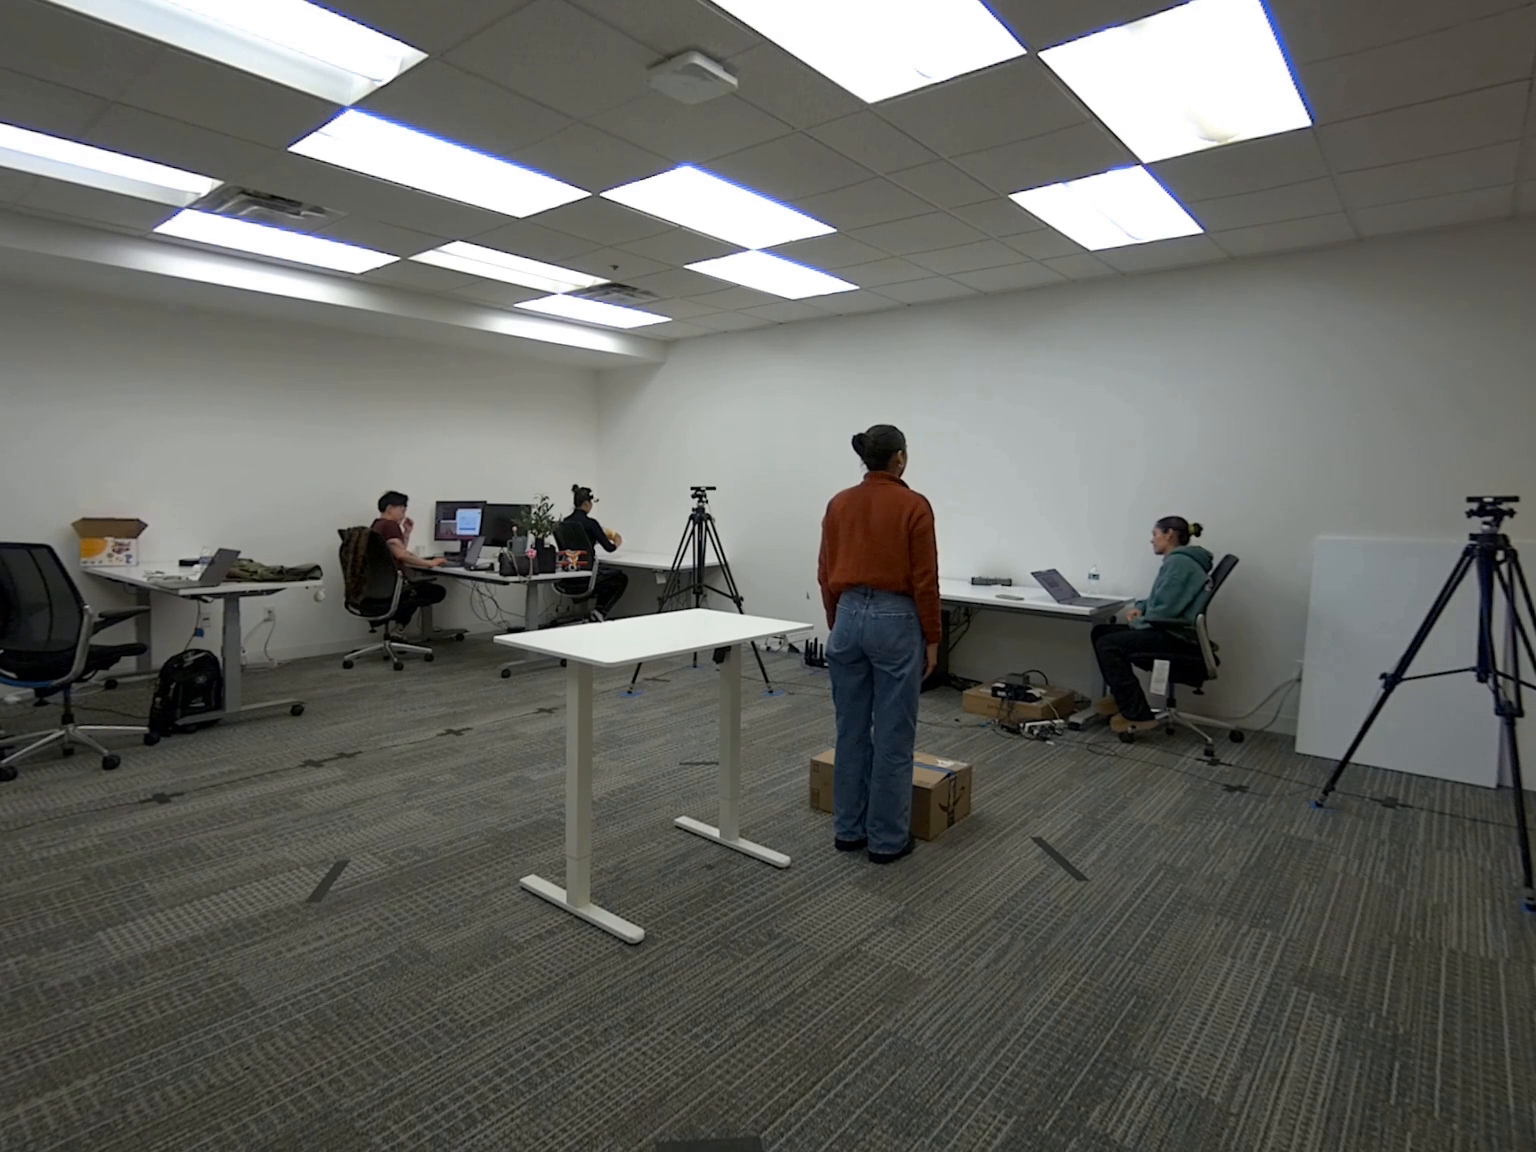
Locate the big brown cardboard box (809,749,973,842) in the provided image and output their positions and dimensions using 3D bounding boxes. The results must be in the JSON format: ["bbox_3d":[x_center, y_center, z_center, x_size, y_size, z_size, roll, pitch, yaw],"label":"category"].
[{"bbox_3d":[0.529,0.905,3.707,0.608,0.232,0.406,4,6,36],"label":"big brown cardboard box"}]
